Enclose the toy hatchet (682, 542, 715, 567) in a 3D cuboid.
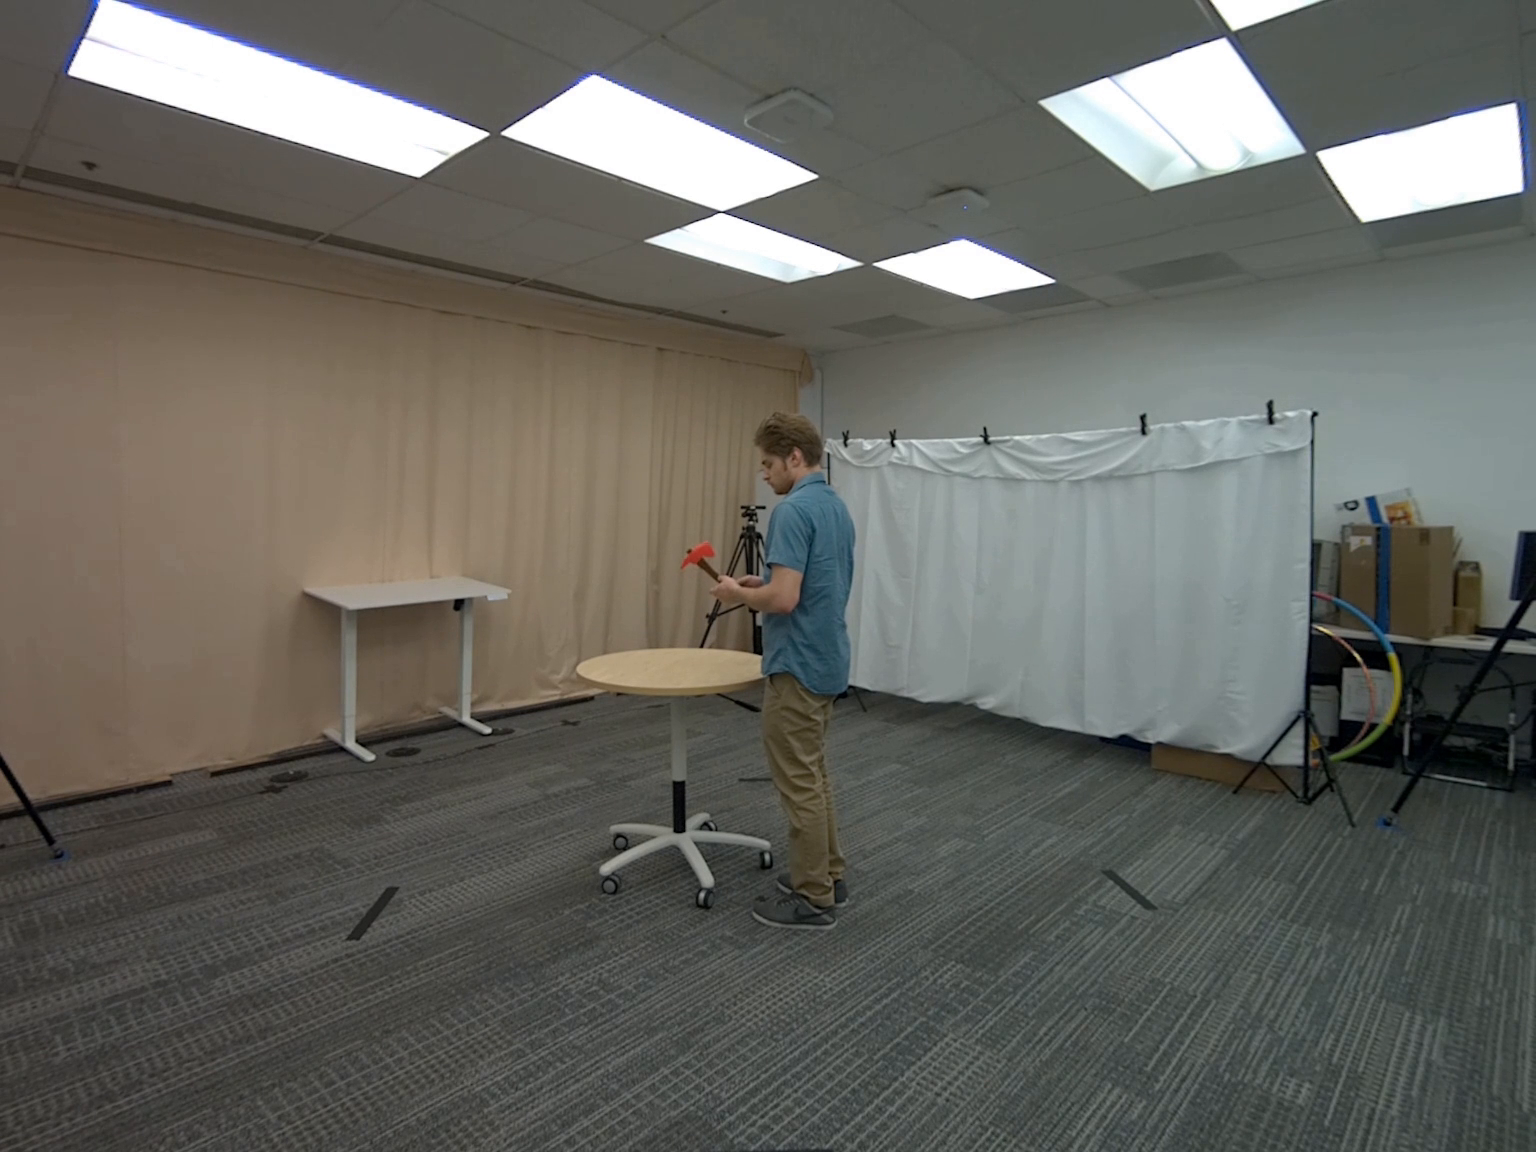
[{"bbox_3d":[-0.158,-0.026,2.959,0.268,0.131,0.030,24,14,-5],"label":"toy hatchet"}]
